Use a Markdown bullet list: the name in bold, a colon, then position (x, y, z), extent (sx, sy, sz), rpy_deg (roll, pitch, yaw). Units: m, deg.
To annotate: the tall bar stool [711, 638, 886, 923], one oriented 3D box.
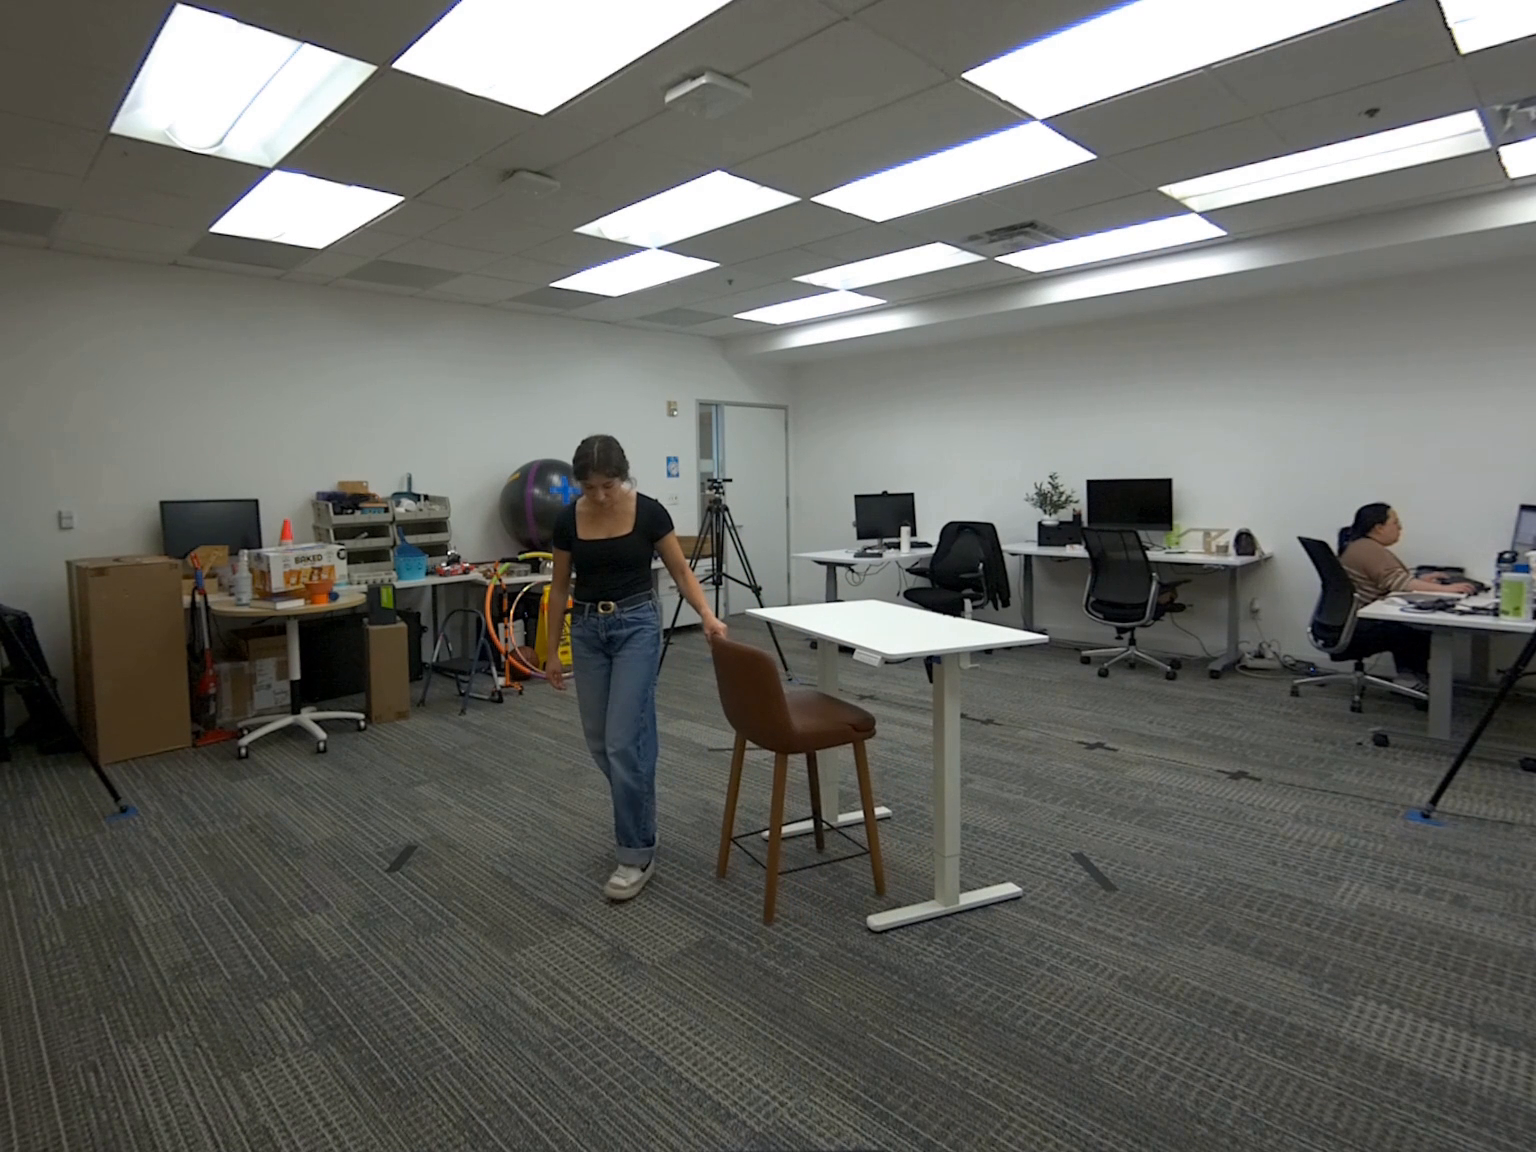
- **tall bar stool**: position (0.085, 0.632, 2.906), extent (0.458, 0.885, 0.468), rpy_deg (-6, 6, -27)
